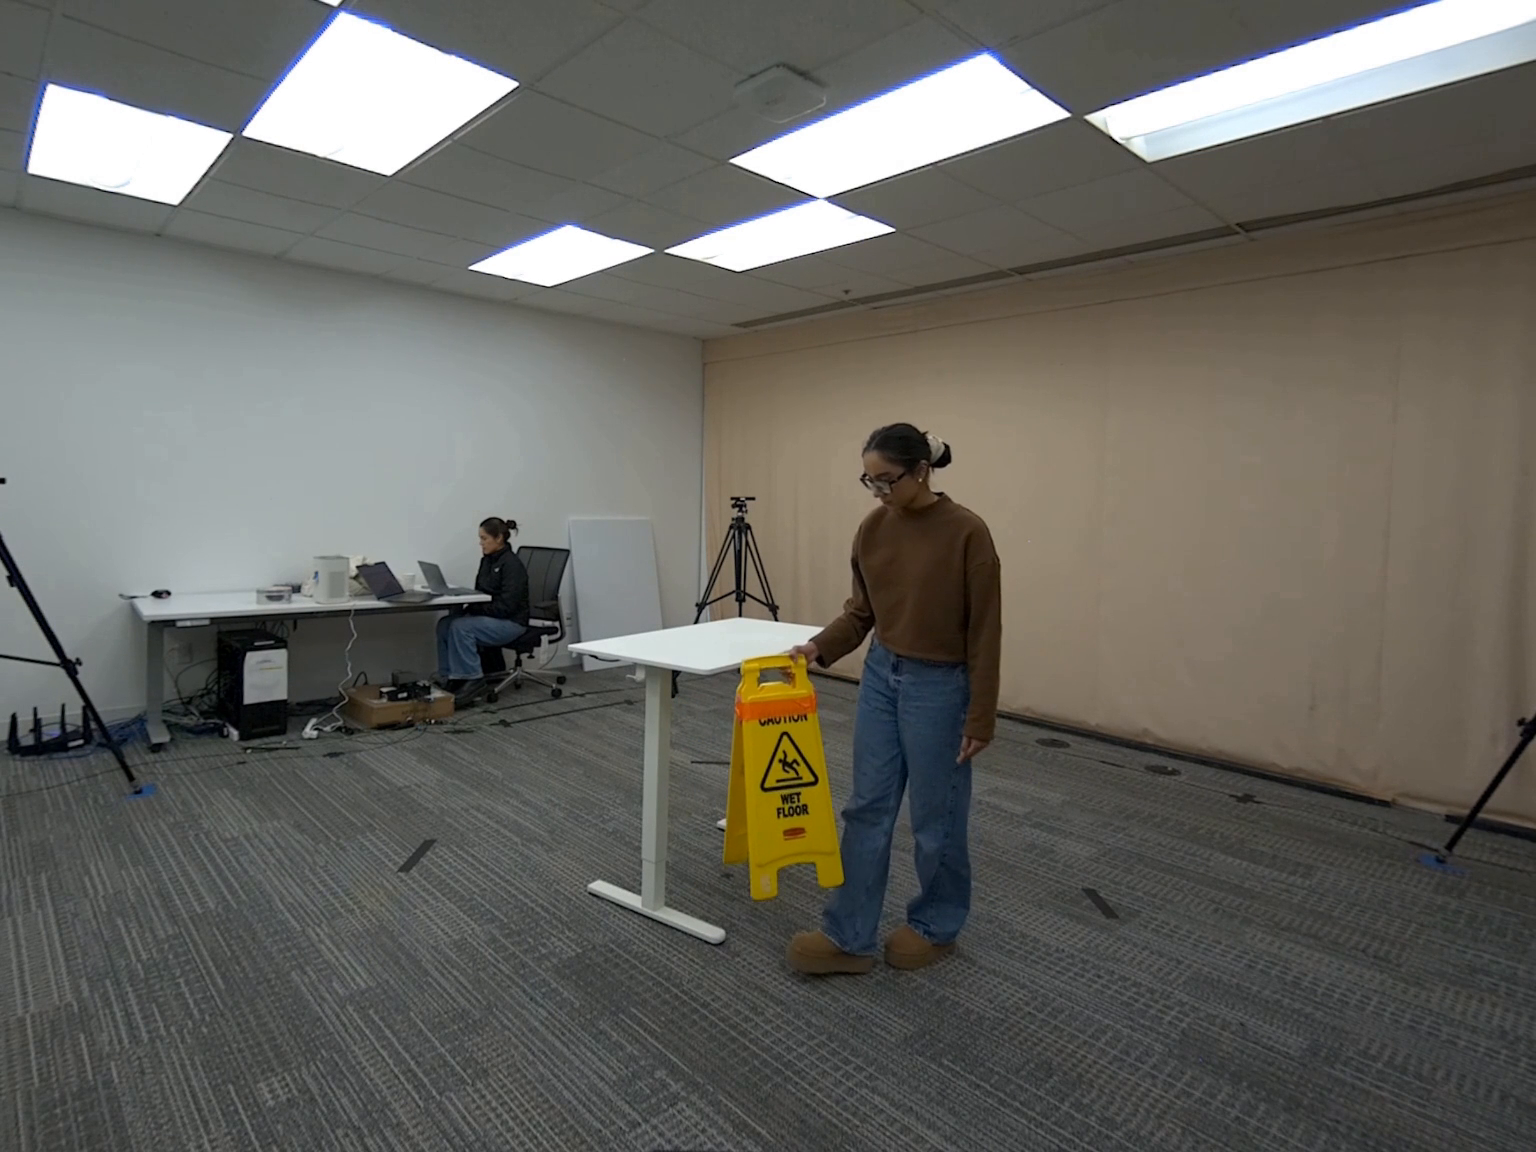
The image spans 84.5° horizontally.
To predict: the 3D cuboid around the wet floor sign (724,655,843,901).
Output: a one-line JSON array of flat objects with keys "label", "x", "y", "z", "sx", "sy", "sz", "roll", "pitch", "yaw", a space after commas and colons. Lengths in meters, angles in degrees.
[{"label": "wet floor sign", "x": 0.017, "y": 0.561, "z": 2.479, "sx": 0.279, "sy": 0.646, "sz": 0.293, "roll": -2, "pitch": 0, "yaw": -16}]
